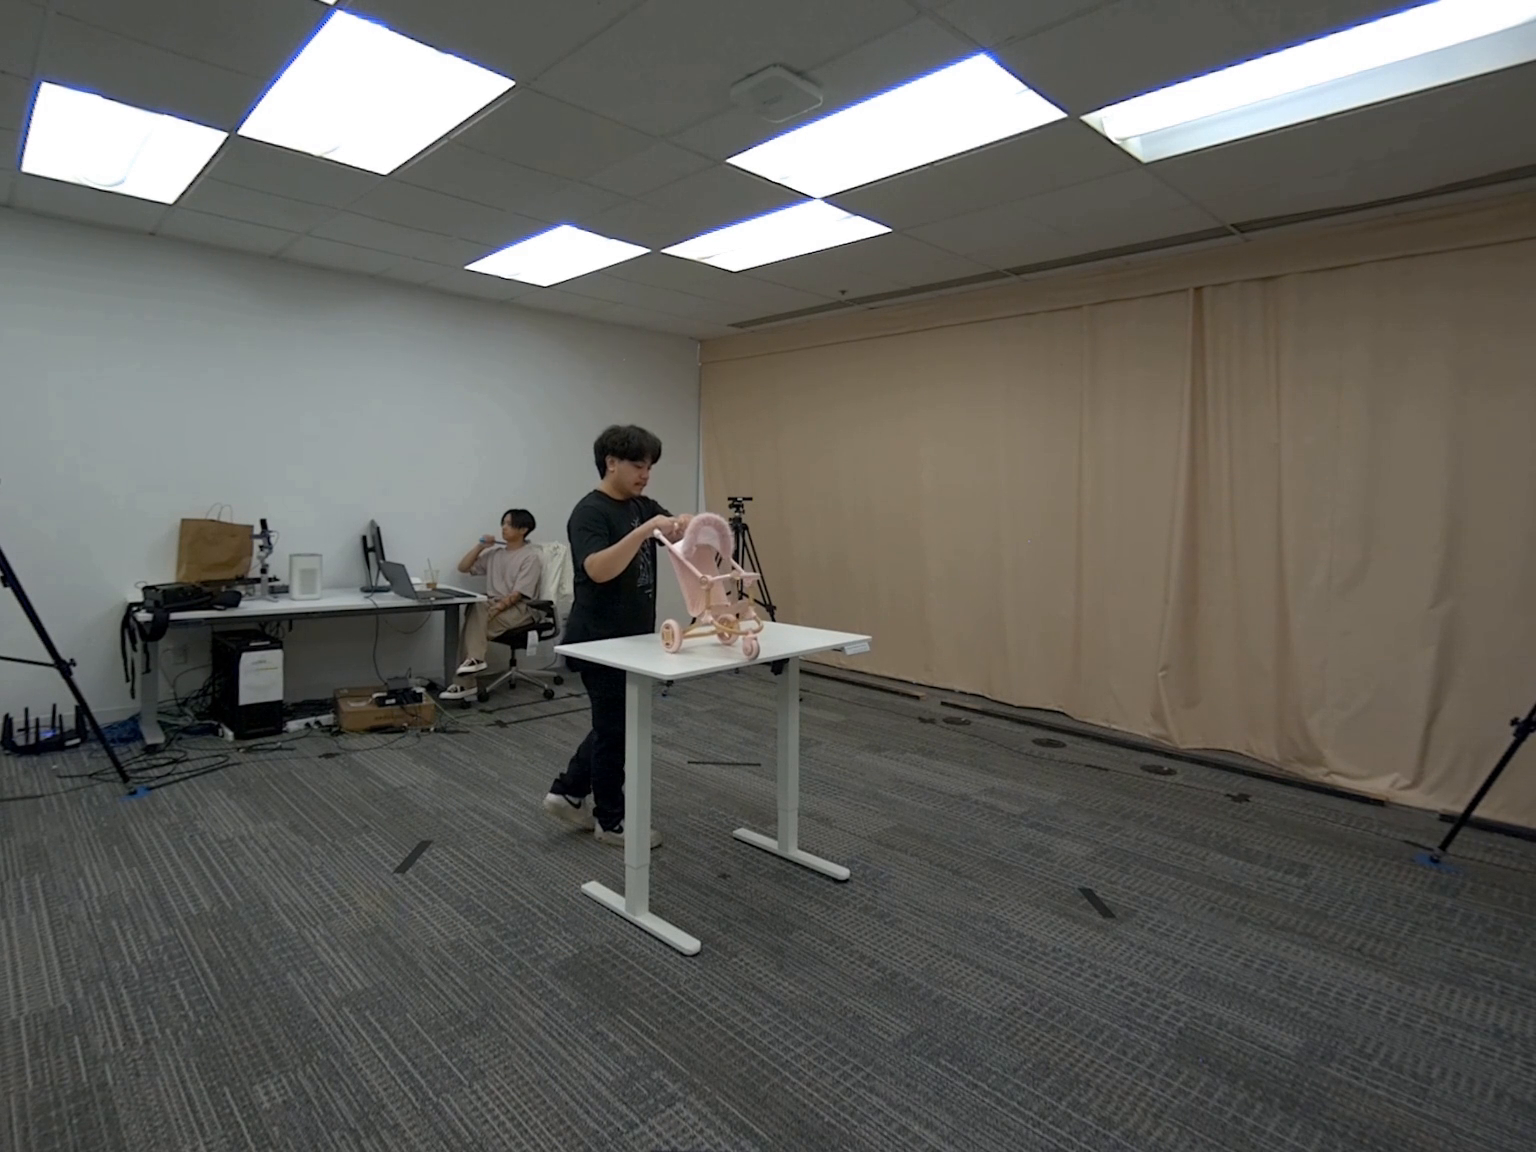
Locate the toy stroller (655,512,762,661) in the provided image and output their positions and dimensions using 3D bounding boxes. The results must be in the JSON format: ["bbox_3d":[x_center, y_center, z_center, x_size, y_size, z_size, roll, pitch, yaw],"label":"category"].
[{"bbox_3d":[-0.195,0.029,2.792,0.275,0.539,0.346,-1,-12,-38],"label":"toy stroller"}]
